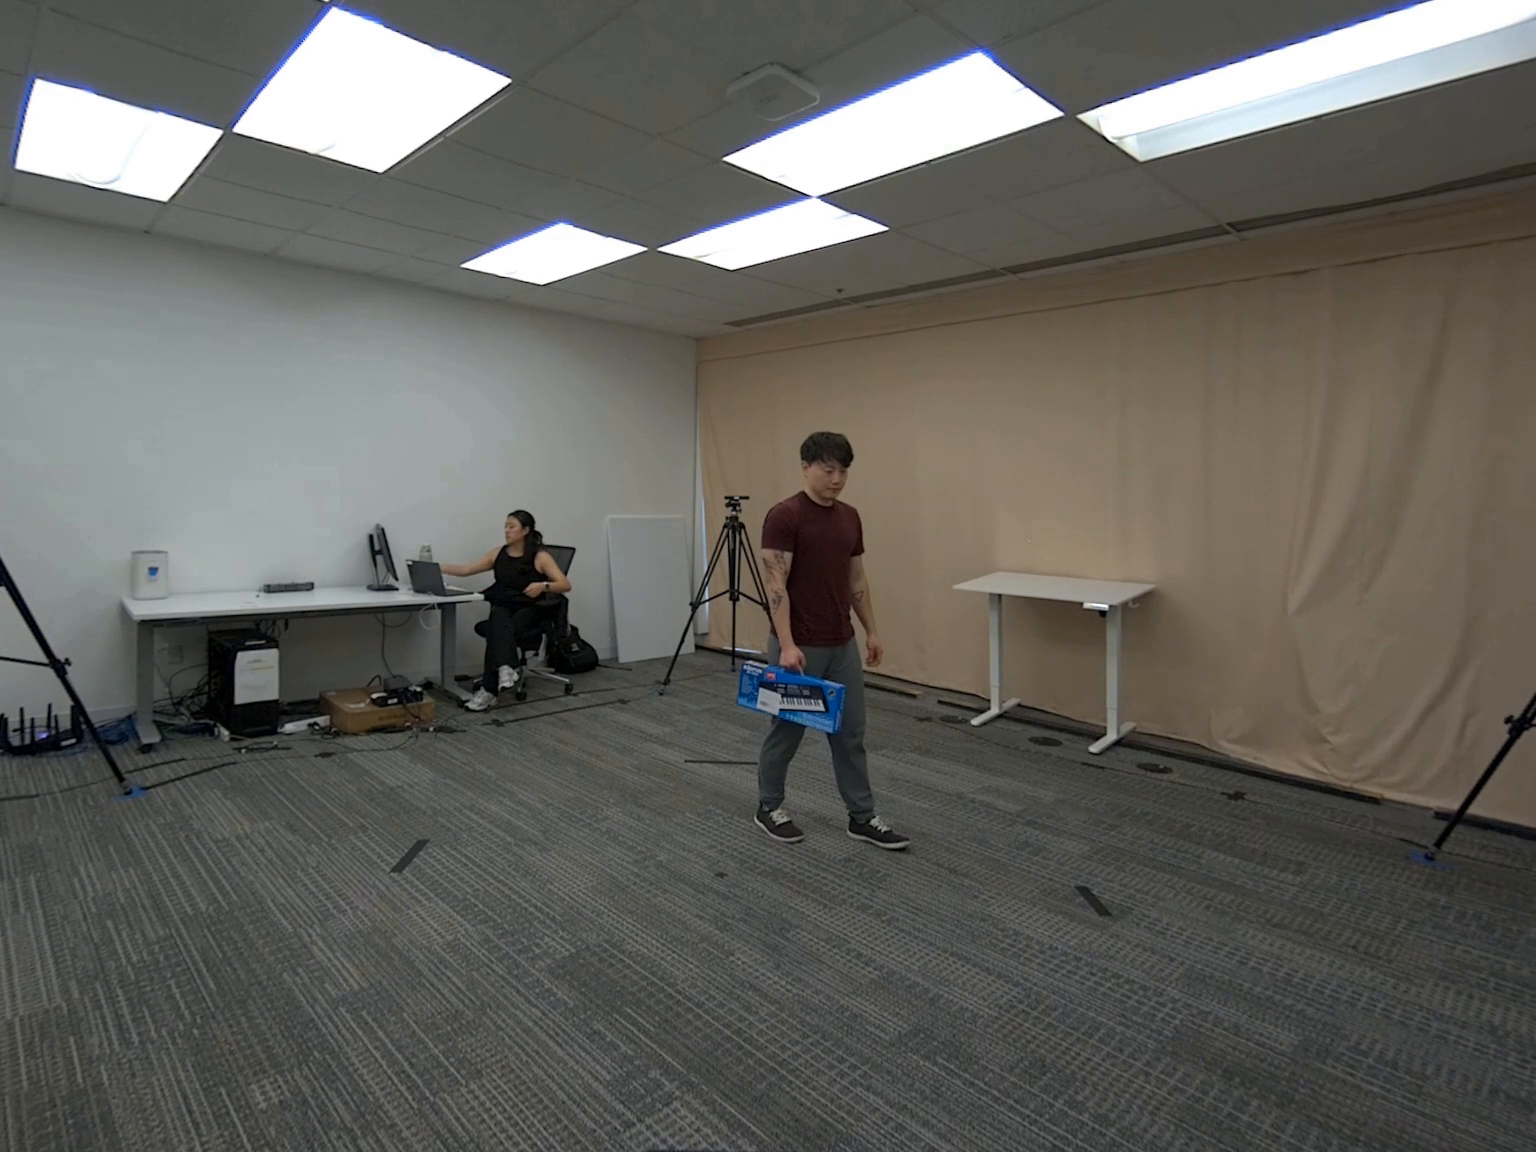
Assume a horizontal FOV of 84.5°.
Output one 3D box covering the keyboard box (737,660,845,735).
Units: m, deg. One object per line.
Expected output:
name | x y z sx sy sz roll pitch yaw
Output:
keyboard box | 0.077 0.453 3.197 0.448 0.175 0.058 10 6 35
